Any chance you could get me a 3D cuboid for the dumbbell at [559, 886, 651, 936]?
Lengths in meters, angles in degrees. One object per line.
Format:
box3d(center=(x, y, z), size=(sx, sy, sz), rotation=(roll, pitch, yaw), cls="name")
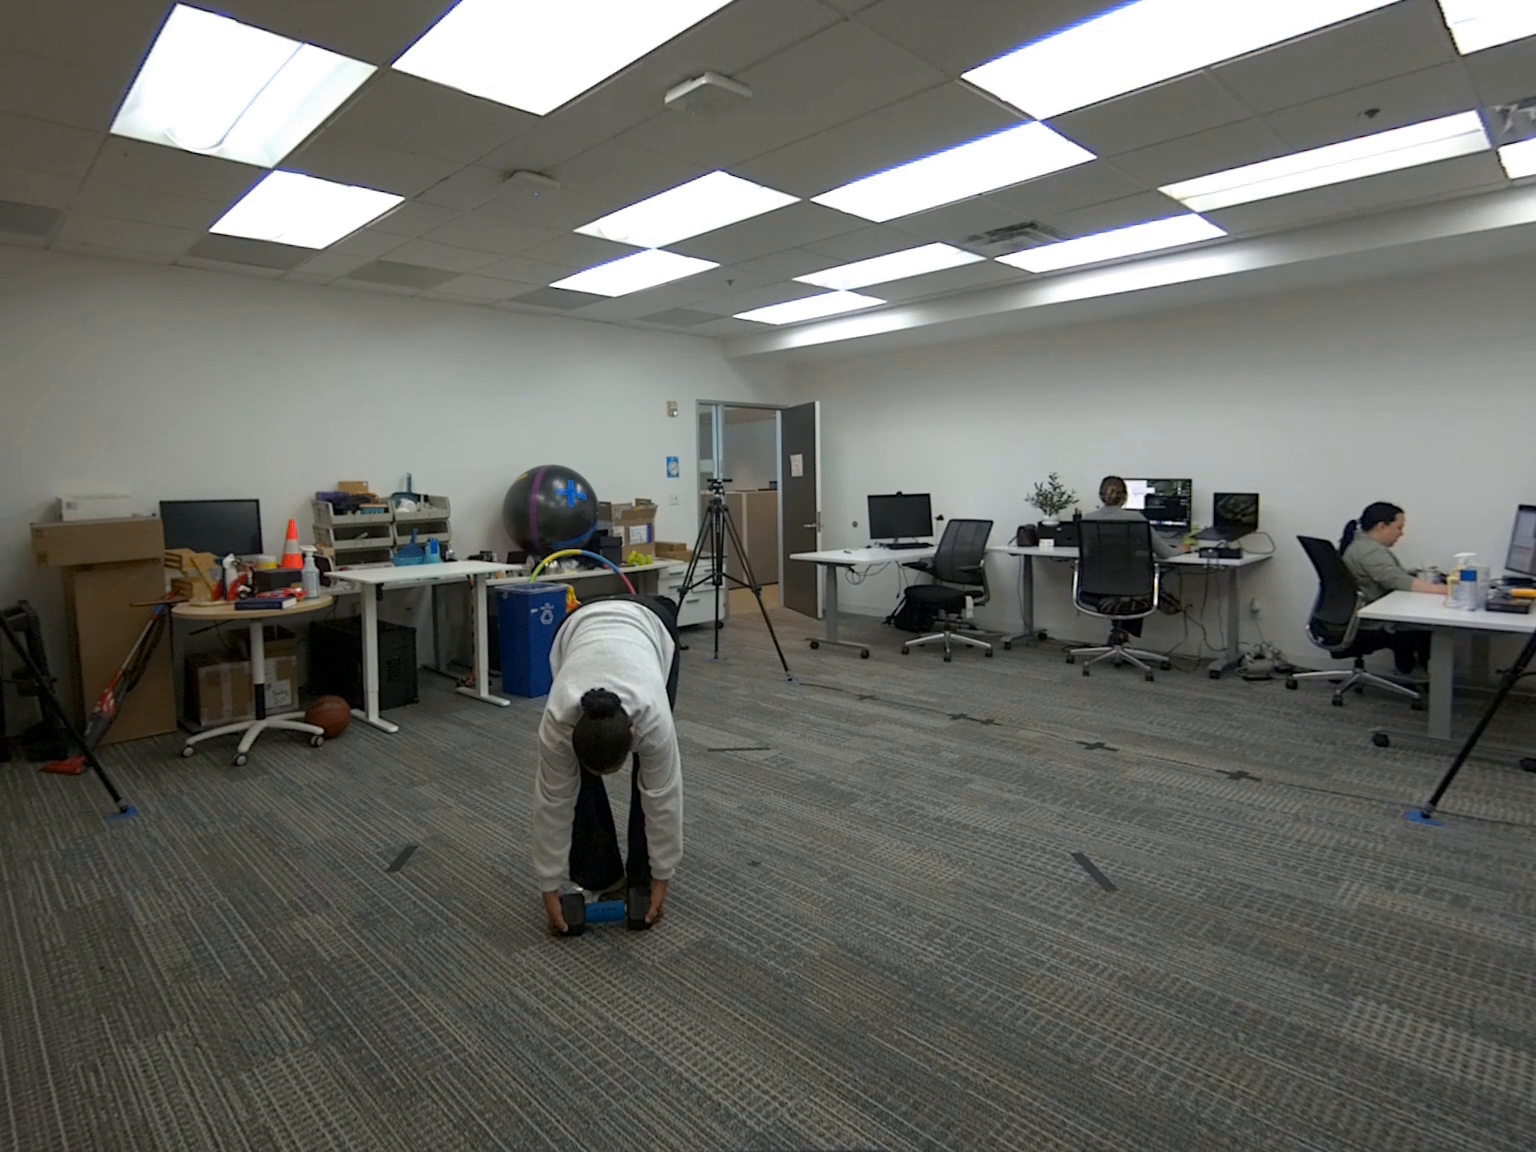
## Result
box3d(center=(-0.500, 1.058, 2.683), size=(0.291, 0.120, 0.112), rotation=(-3, 37, -7), cls="dumbbell")
